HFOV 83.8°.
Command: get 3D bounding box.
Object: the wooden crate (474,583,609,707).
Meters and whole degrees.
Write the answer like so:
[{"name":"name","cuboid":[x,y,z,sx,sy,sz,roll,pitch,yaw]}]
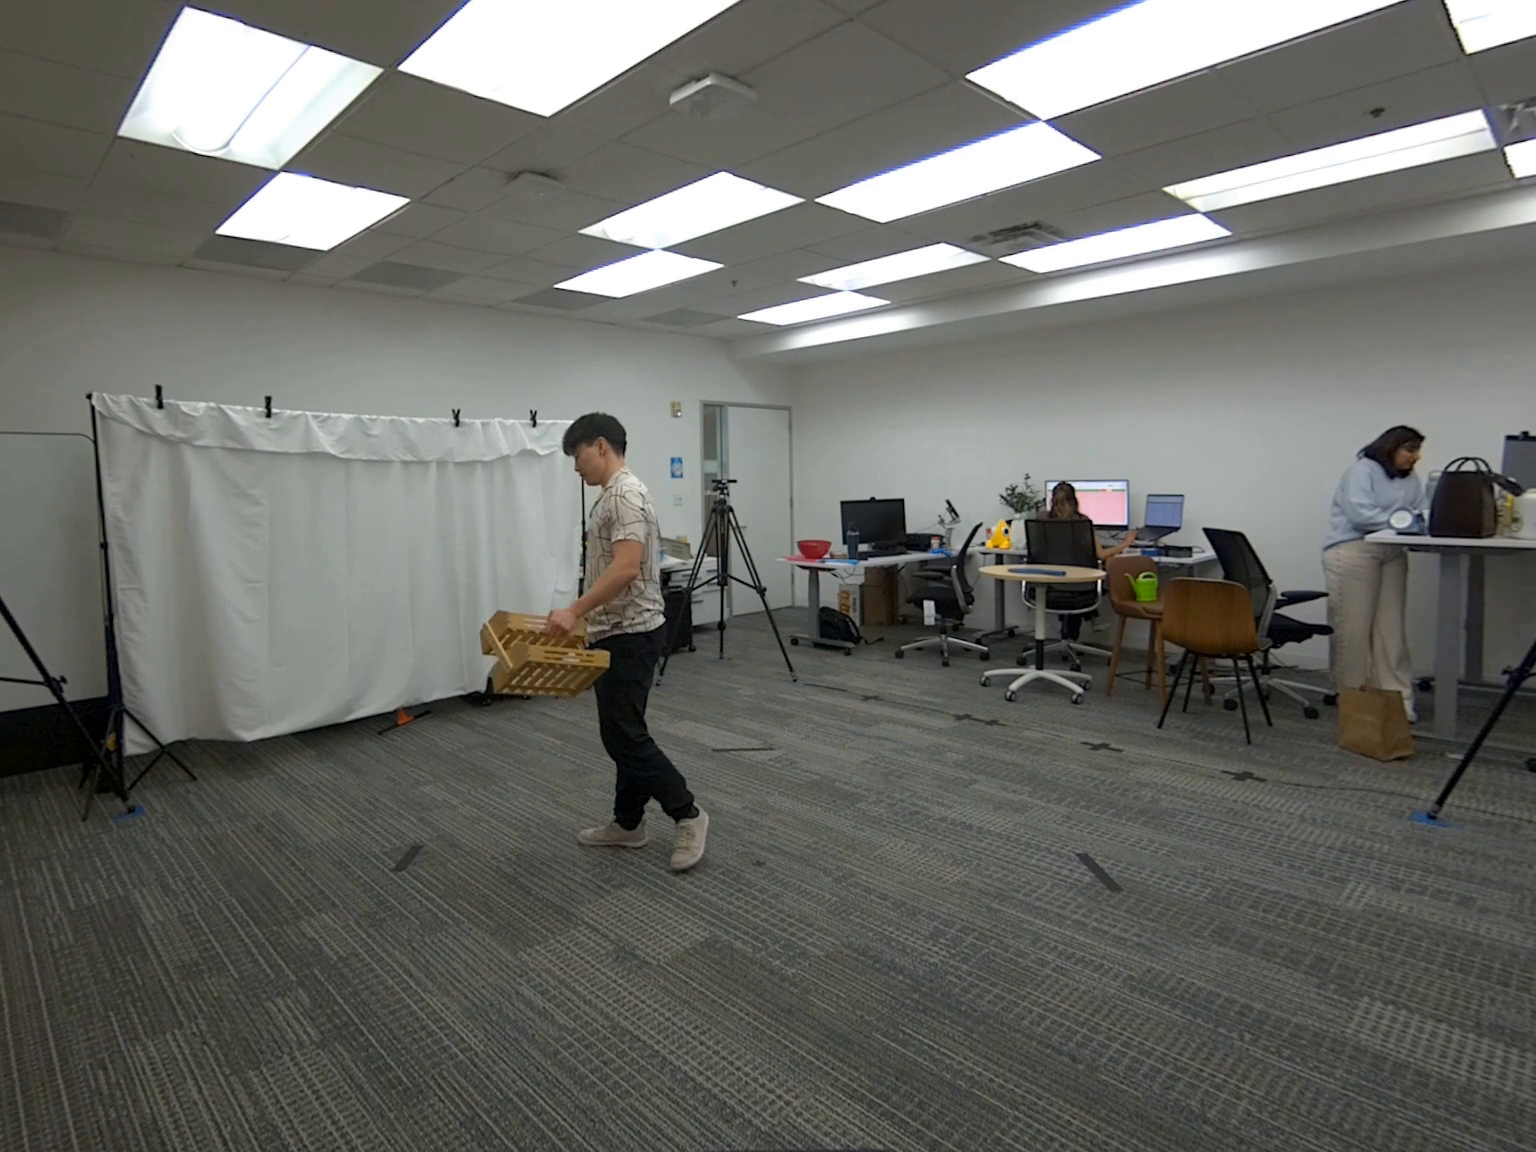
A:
[{"name":"wooden crate","cuboid":[-0.756,0.239,2.875,0.314,0.282,0.303,12,-40,-40]}]
